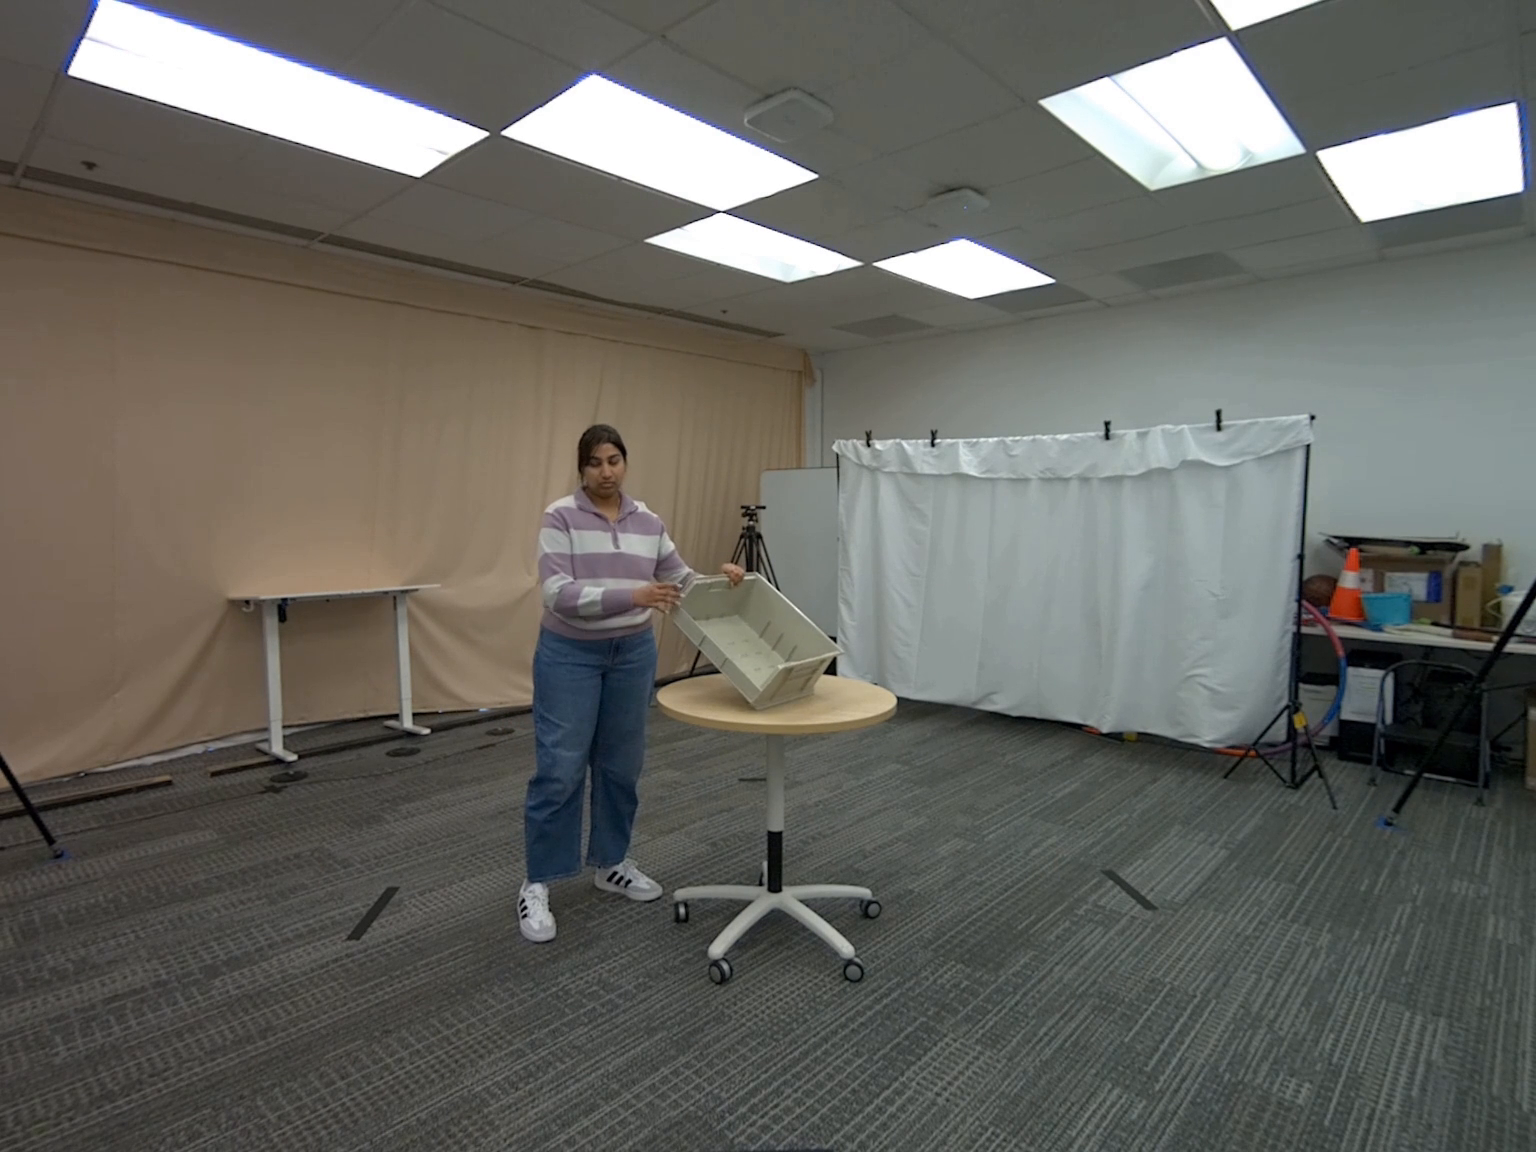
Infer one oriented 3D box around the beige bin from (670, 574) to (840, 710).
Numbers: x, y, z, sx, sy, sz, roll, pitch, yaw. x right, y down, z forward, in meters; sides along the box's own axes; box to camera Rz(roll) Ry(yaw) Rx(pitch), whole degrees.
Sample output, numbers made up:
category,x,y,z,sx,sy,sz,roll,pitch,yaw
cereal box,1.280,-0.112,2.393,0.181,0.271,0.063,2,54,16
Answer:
category,x,y,z,sx,sy,sz,roll,pitch,yaw
beige bin,-0.036,0.196,2.657,0.436,0.189,0.366,41,24,29
